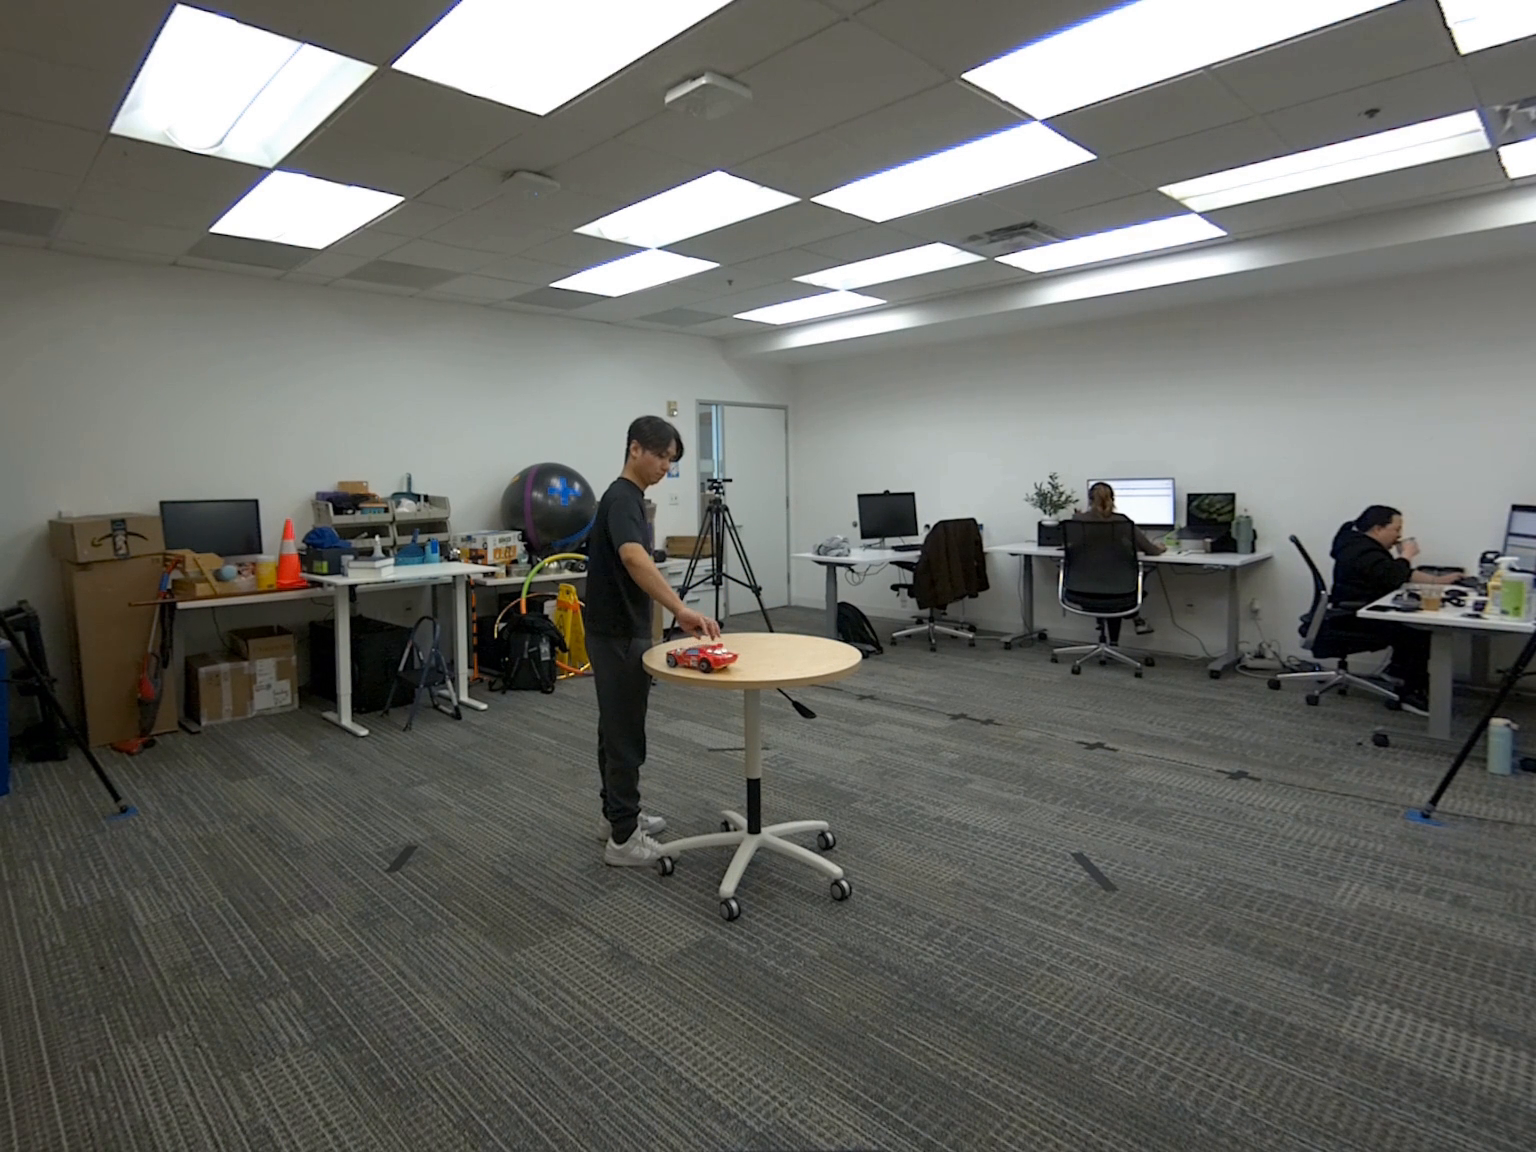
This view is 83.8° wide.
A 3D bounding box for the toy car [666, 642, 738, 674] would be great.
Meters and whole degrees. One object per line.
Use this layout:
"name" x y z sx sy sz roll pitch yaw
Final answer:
"toy car" -0.206 0.272 2.790 0.260 0.083 0.127 -10 -1 37
